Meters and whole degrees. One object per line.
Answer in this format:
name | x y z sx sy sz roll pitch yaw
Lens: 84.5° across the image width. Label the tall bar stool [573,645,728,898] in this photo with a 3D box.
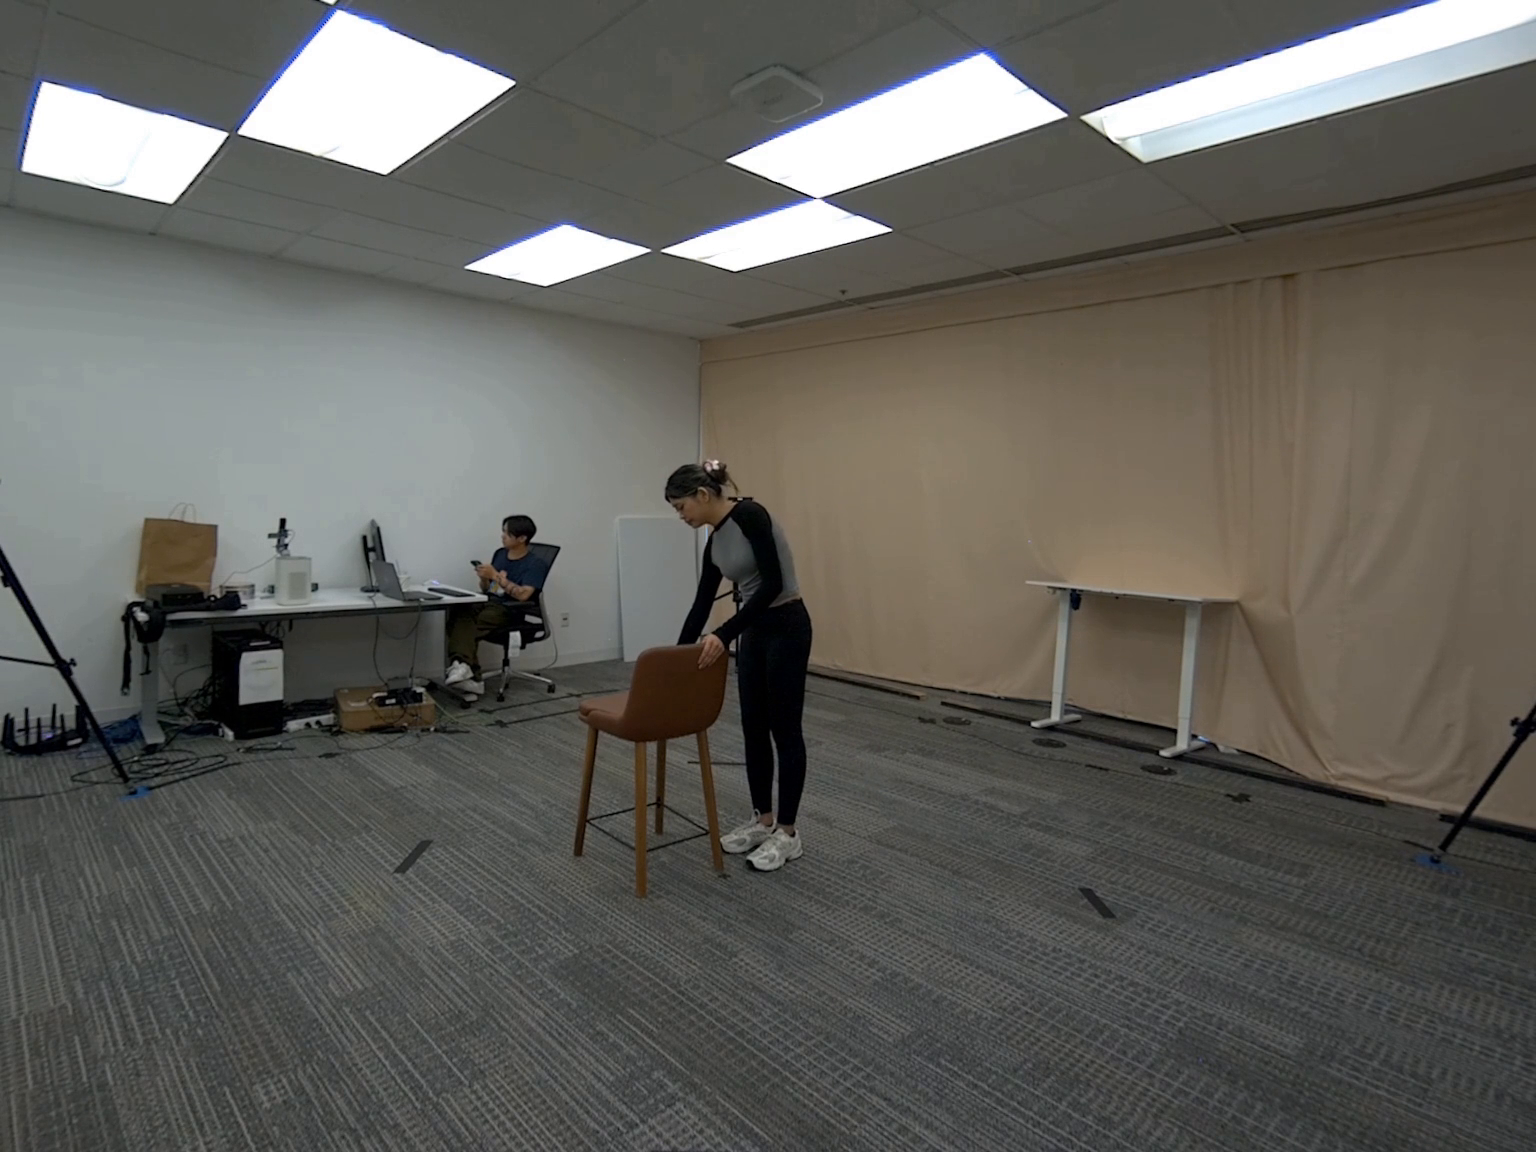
tall bar stool | -0.446 0.656 3.172 0.446 0.886 0.480 -2 7 -41
